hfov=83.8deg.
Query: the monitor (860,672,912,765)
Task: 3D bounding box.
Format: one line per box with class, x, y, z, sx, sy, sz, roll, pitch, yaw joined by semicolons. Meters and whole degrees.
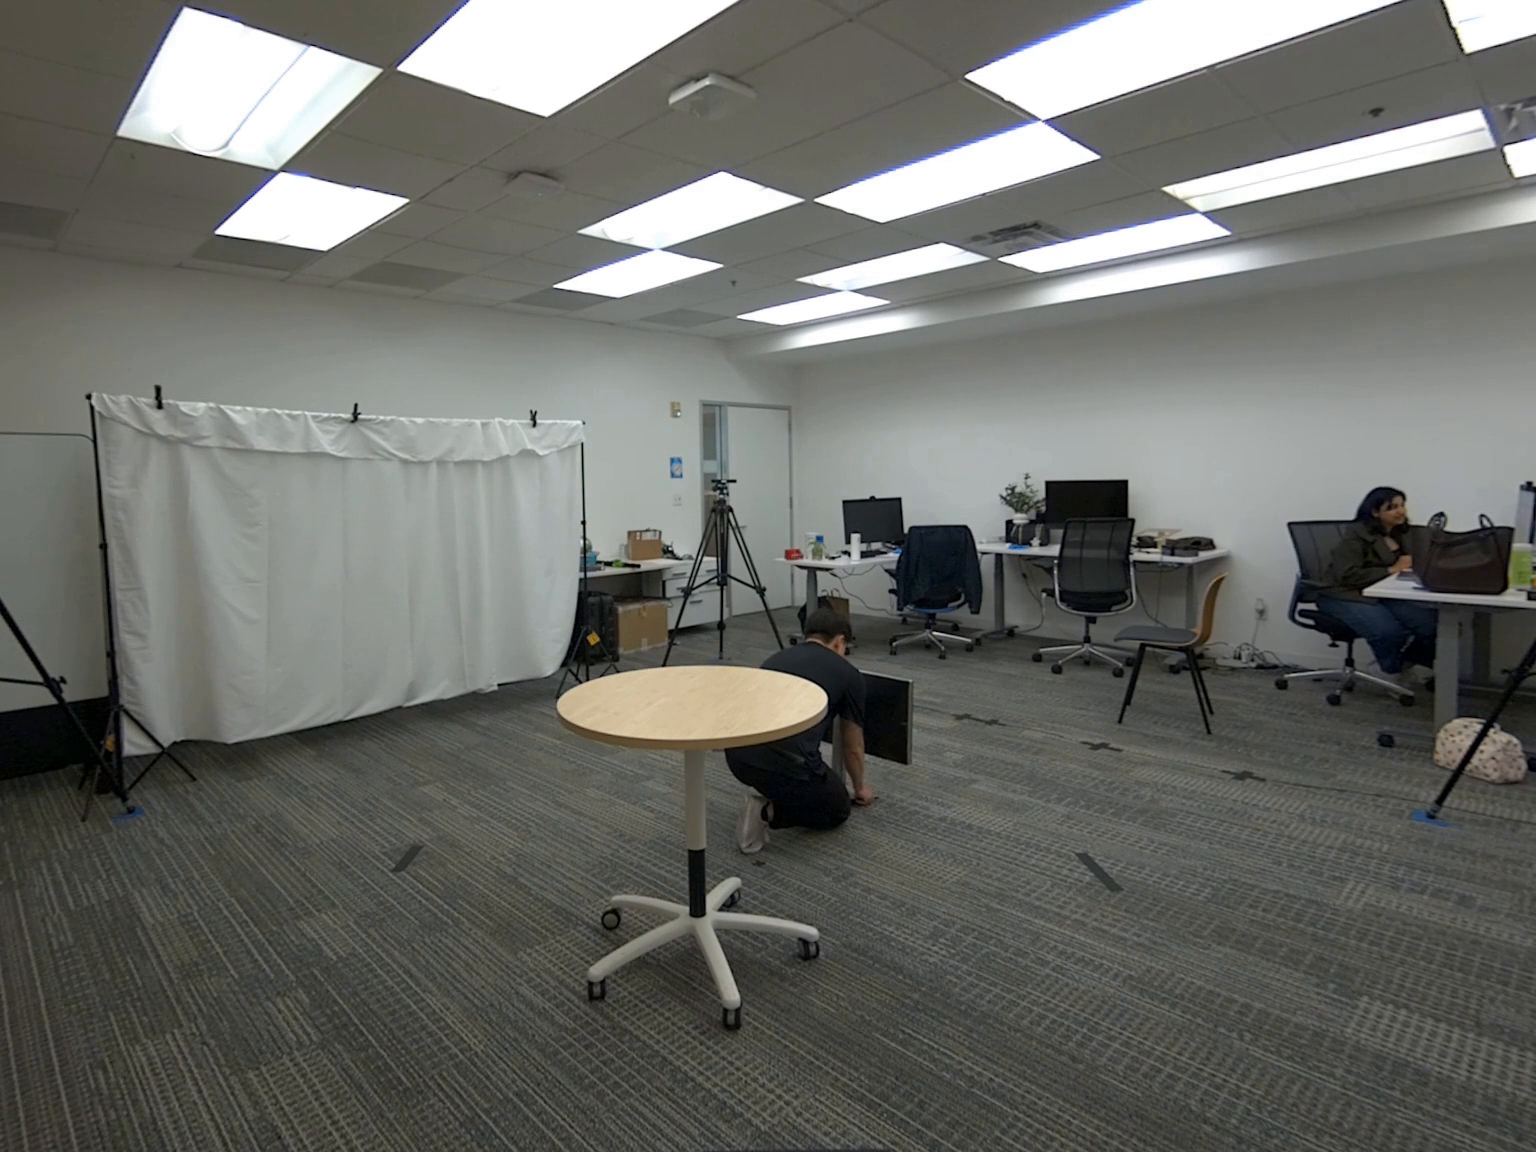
monitor;0.377;0.689;3.785;0.556;0.525;0.181;4;-6;45
